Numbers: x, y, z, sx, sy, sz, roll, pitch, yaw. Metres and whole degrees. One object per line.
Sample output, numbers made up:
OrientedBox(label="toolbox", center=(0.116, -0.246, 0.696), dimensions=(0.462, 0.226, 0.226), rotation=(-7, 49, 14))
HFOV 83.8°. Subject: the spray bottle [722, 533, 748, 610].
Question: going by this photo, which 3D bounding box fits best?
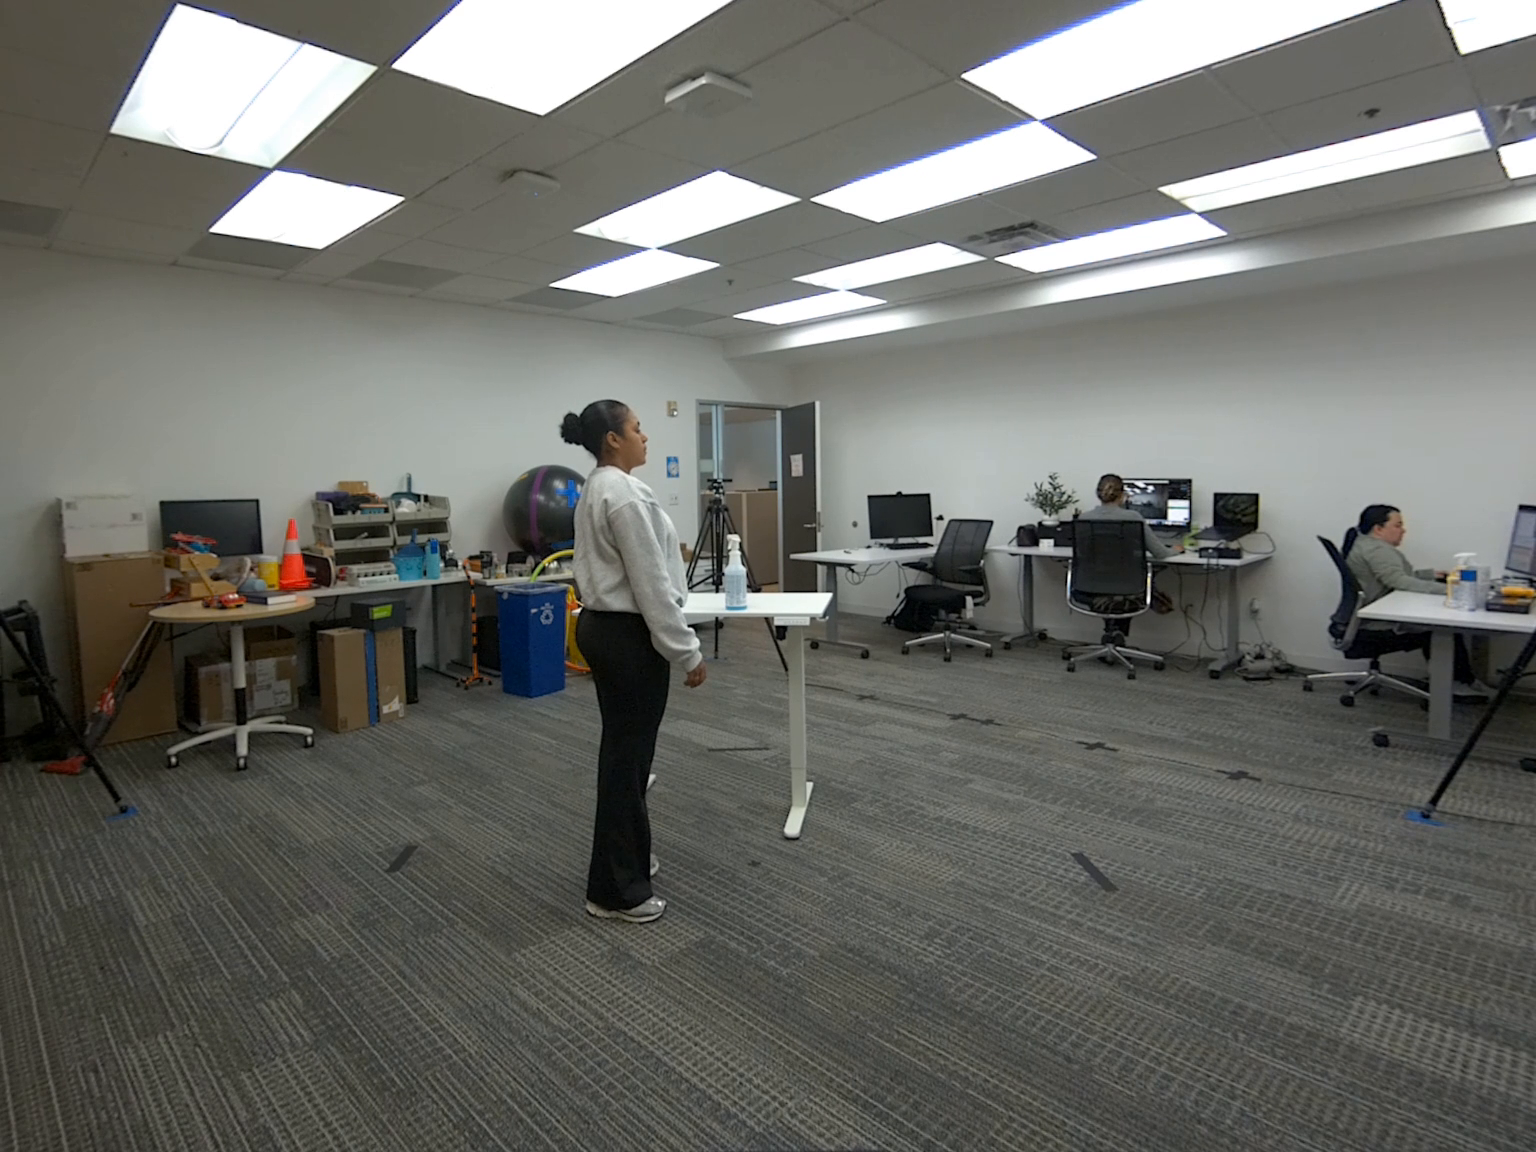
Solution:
OrientedBox(label="spray bottle", center=(-0.129, -0.015, 3.388), dimensions=(0.088, 0.296, 0.089), rotation=(-5, 5, -37))
